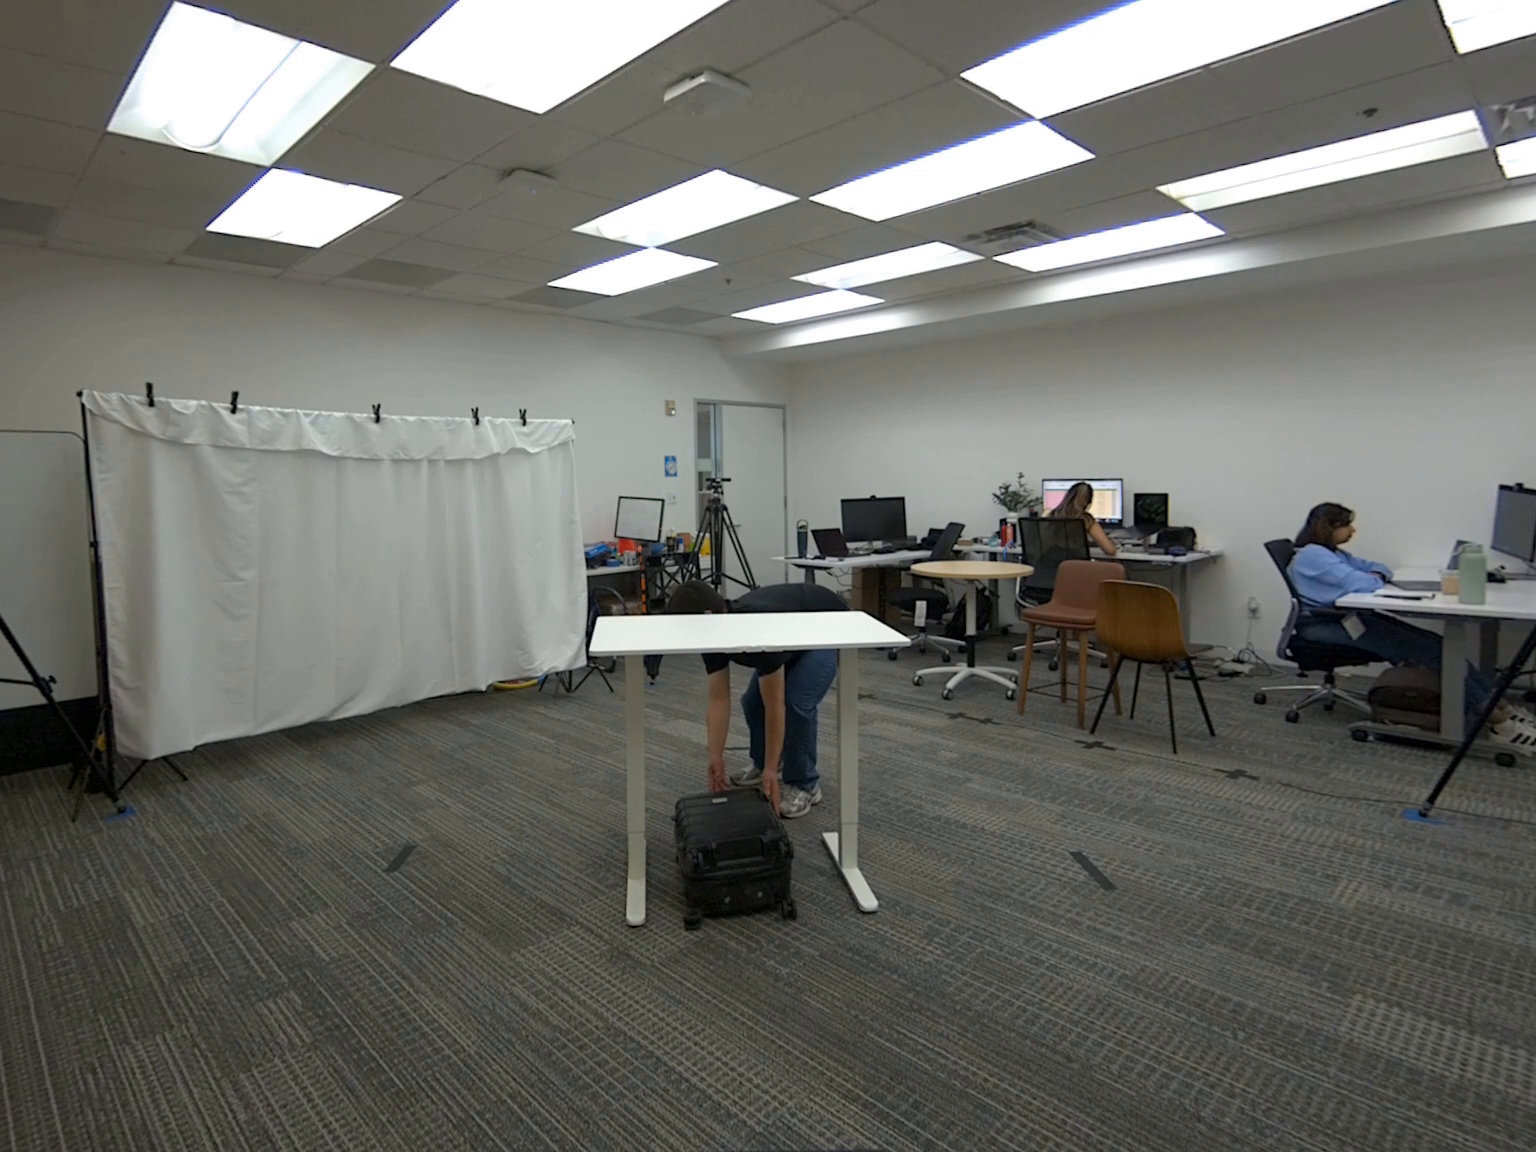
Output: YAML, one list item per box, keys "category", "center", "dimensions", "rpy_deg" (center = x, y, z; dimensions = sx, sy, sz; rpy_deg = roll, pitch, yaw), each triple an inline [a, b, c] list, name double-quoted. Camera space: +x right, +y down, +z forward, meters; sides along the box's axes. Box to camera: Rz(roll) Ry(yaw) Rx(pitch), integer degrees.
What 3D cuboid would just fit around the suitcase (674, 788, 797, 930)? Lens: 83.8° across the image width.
- category: "suitcase"
  center: [-0.167, 0.910, 3.148]
  dimensions: [0.381, 0.255, 0.992]
  rpy_deg: [-4, 7, -10]
